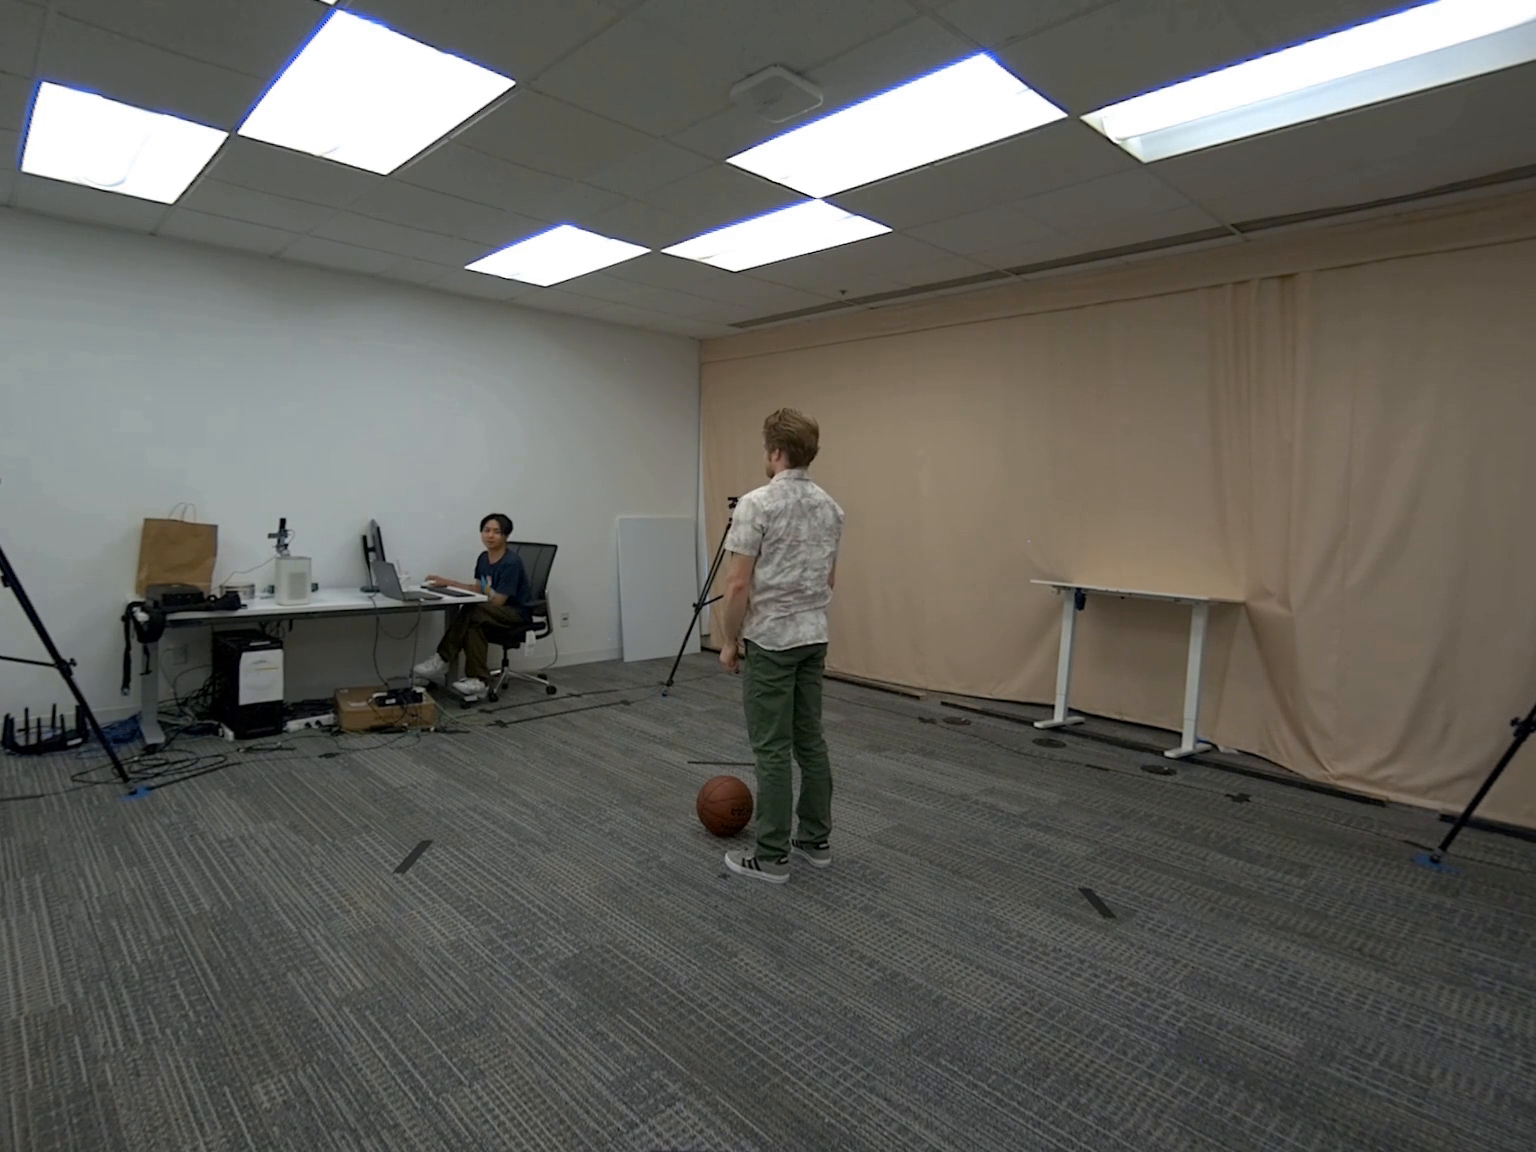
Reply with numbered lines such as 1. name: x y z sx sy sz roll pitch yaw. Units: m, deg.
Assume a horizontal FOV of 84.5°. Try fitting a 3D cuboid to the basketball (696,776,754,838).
1. basketball: -0.188 0.949 3.498 0.236 0.235 0.237 1 4 -1
